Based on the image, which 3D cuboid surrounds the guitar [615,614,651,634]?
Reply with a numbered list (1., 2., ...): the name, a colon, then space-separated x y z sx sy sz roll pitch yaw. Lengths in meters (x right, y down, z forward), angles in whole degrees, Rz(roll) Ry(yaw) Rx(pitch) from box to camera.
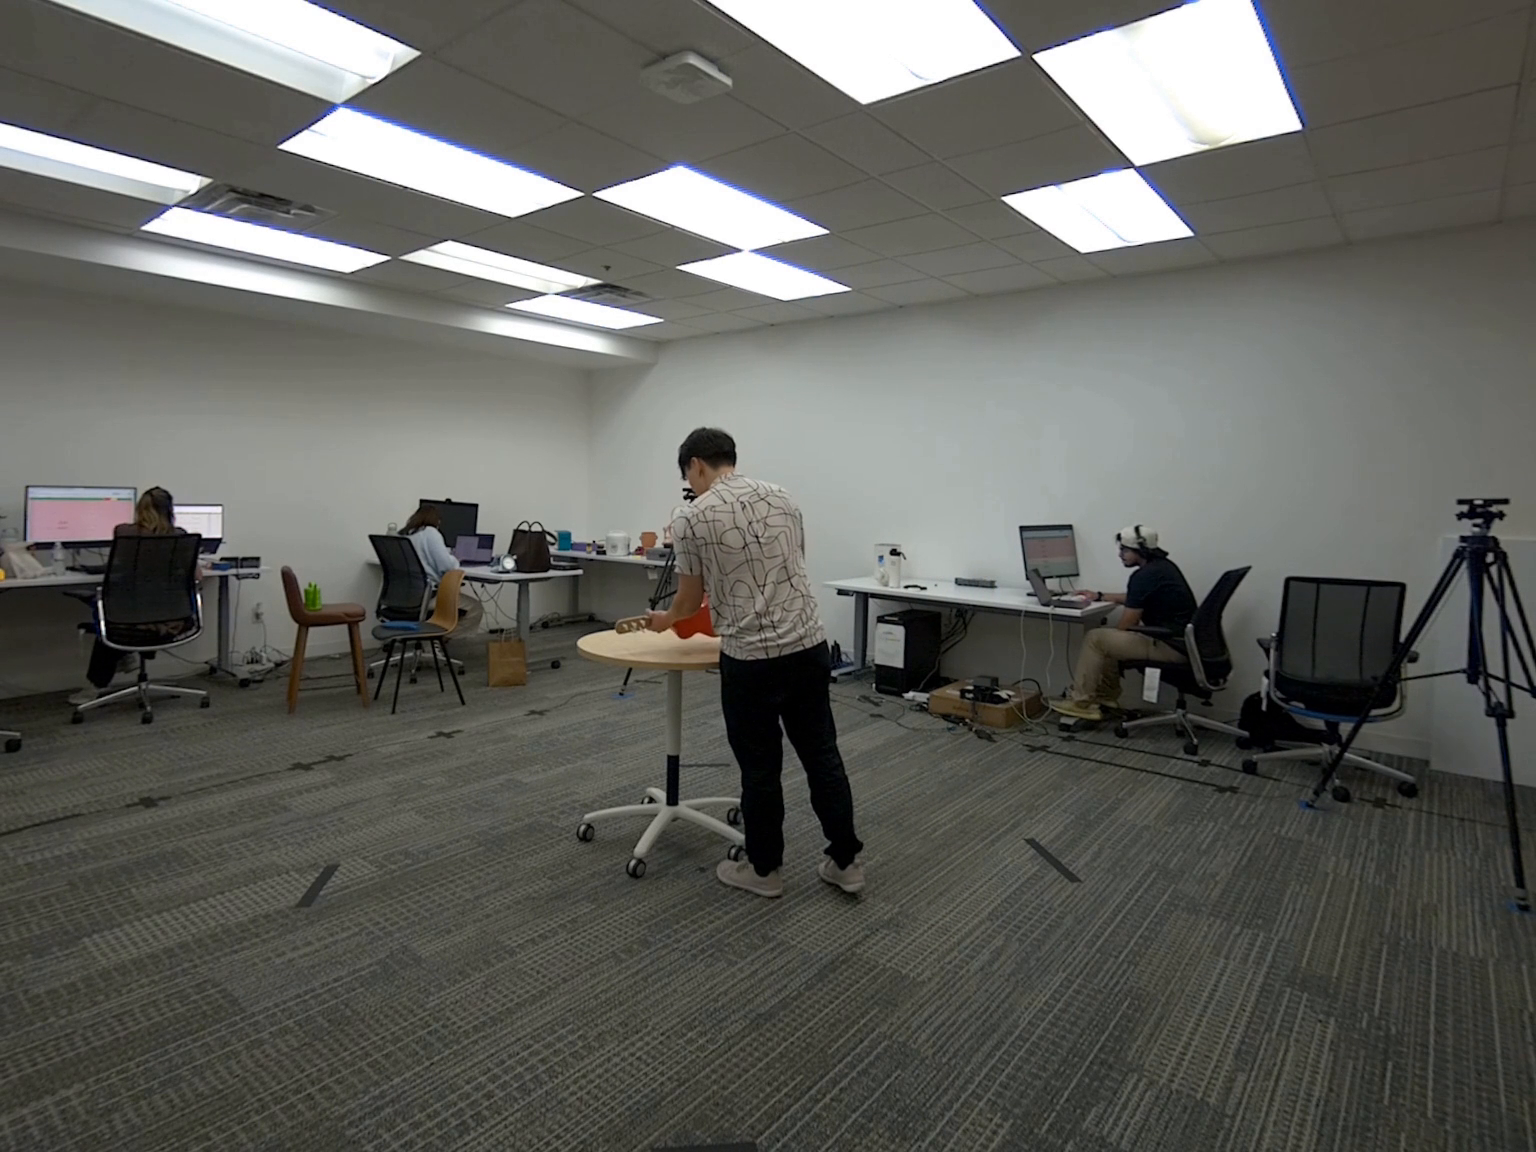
1. guitar: -0.358 0.186 3.238 0.488 0.188 0.074 -19 36 -31
